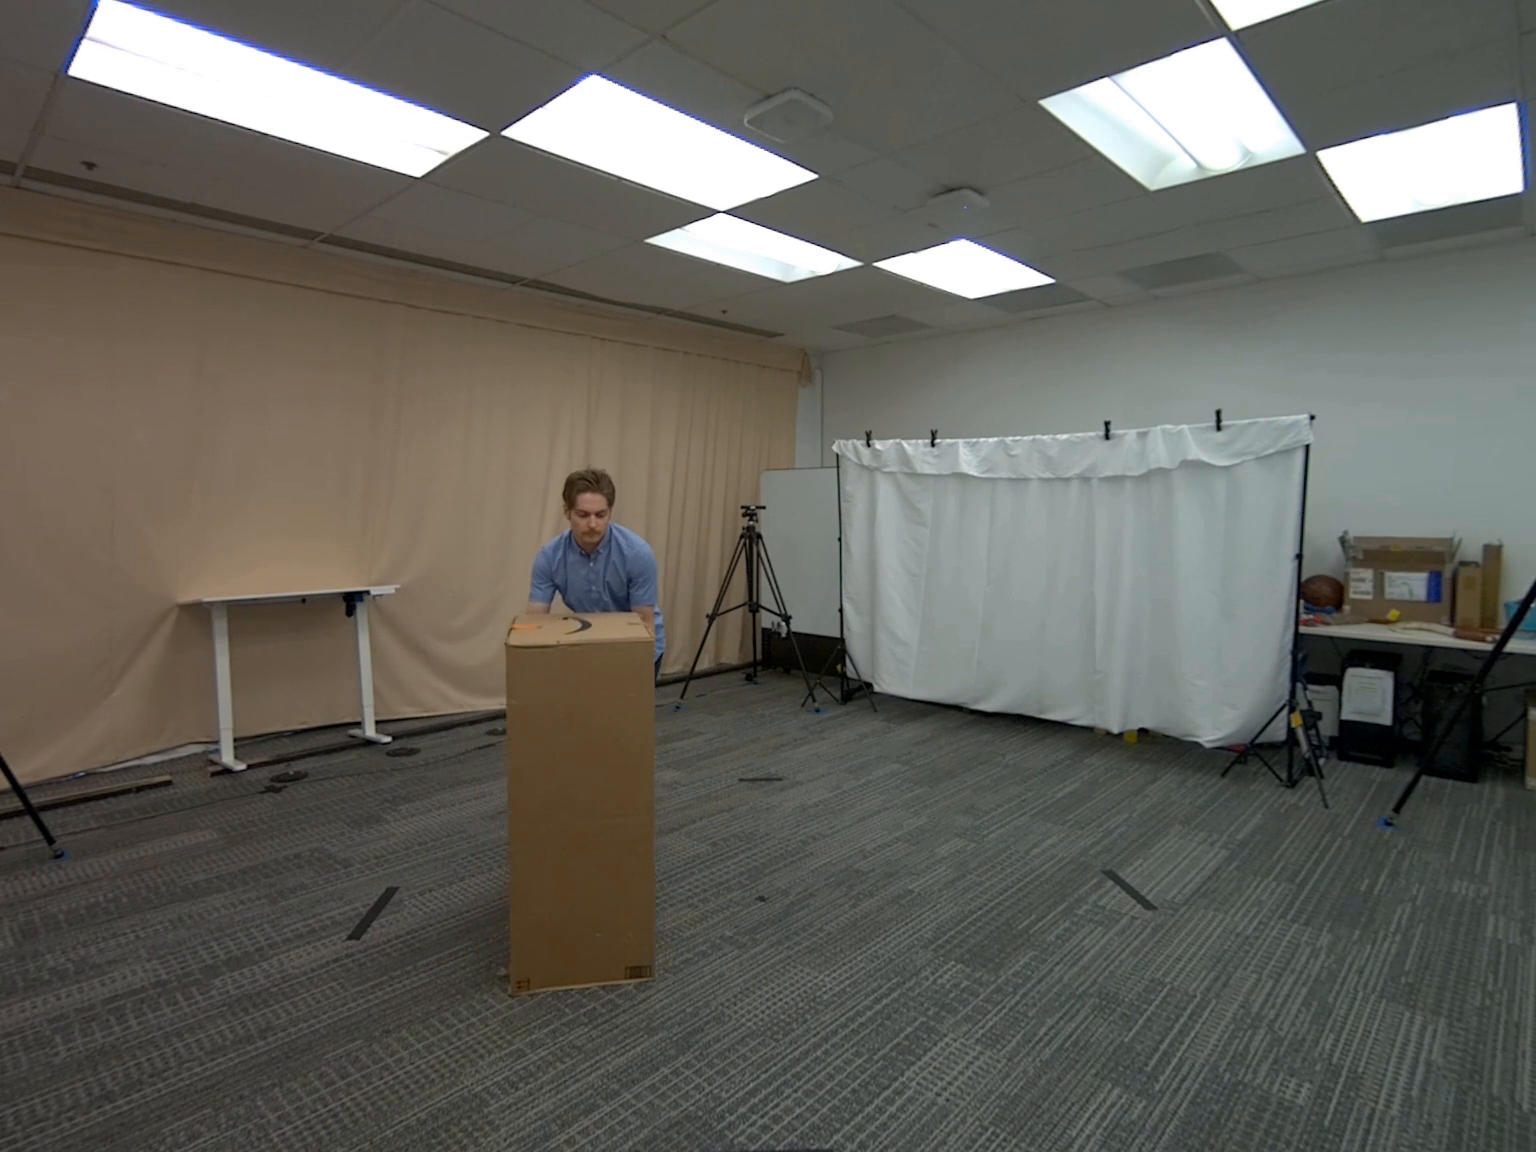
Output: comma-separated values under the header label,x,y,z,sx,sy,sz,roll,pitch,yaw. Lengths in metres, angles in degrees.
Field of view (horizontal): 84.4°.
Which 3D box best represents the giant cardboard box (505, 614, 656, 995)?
label,x,y,z,sx,sy,sz,roll,pitch,yaw
giant cardboard box,-0.594,0.664,2.681,0.421,1.024,0.585,0,3,-12
